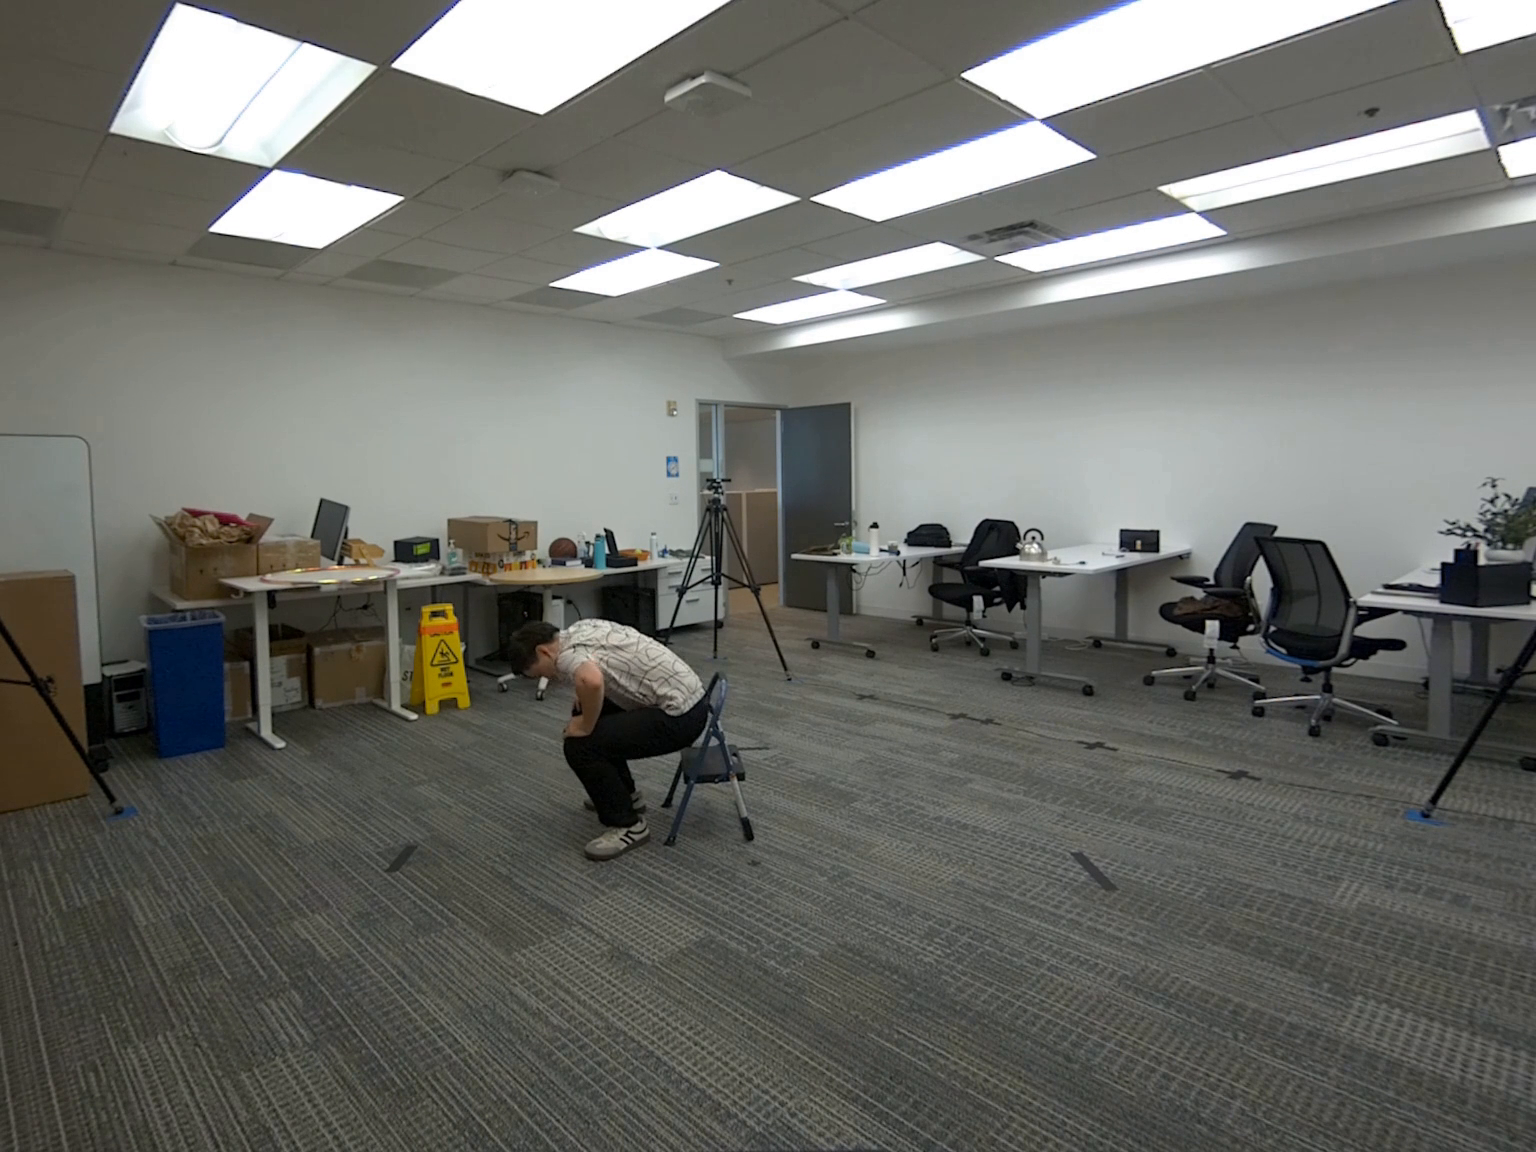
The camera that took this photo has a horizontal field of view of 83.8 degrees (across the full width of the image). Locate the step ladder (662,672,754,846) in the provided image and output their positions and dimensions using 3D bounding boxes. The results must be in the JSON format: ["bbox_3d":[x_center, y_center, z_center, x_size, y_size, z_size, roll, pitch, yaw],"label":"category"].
[{"bbox_3d":[-0.251,0.706,3.460,0.347,0.604,0.435,-2,4,-8],"label":"step ladder"}]
